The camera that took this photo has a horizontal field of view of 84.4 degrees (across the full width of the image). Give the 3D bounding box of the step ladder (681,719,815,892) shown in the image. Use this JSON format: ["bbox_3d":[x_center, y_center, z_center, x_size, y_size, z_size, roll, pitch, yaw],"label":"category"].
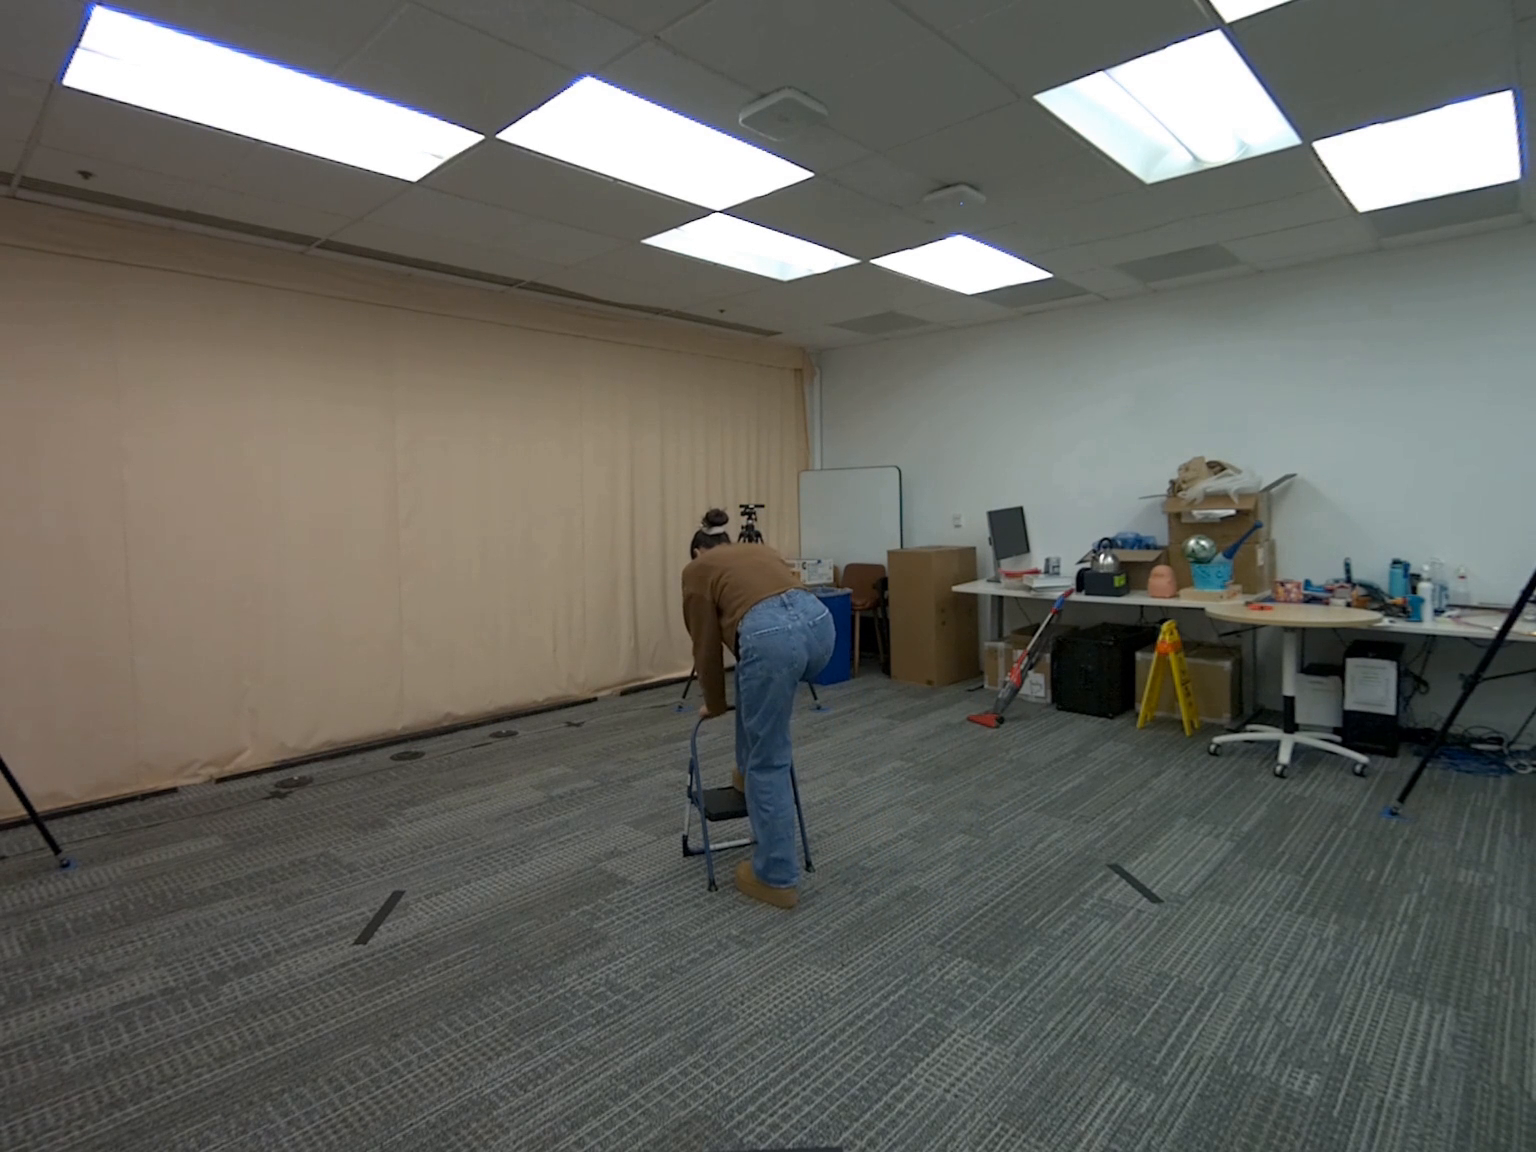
[{"bbox_3d":[-0.087,0.816,3.256,0.421,0.604,0.358,-3,4,-23],"label":"step ladder"}]
